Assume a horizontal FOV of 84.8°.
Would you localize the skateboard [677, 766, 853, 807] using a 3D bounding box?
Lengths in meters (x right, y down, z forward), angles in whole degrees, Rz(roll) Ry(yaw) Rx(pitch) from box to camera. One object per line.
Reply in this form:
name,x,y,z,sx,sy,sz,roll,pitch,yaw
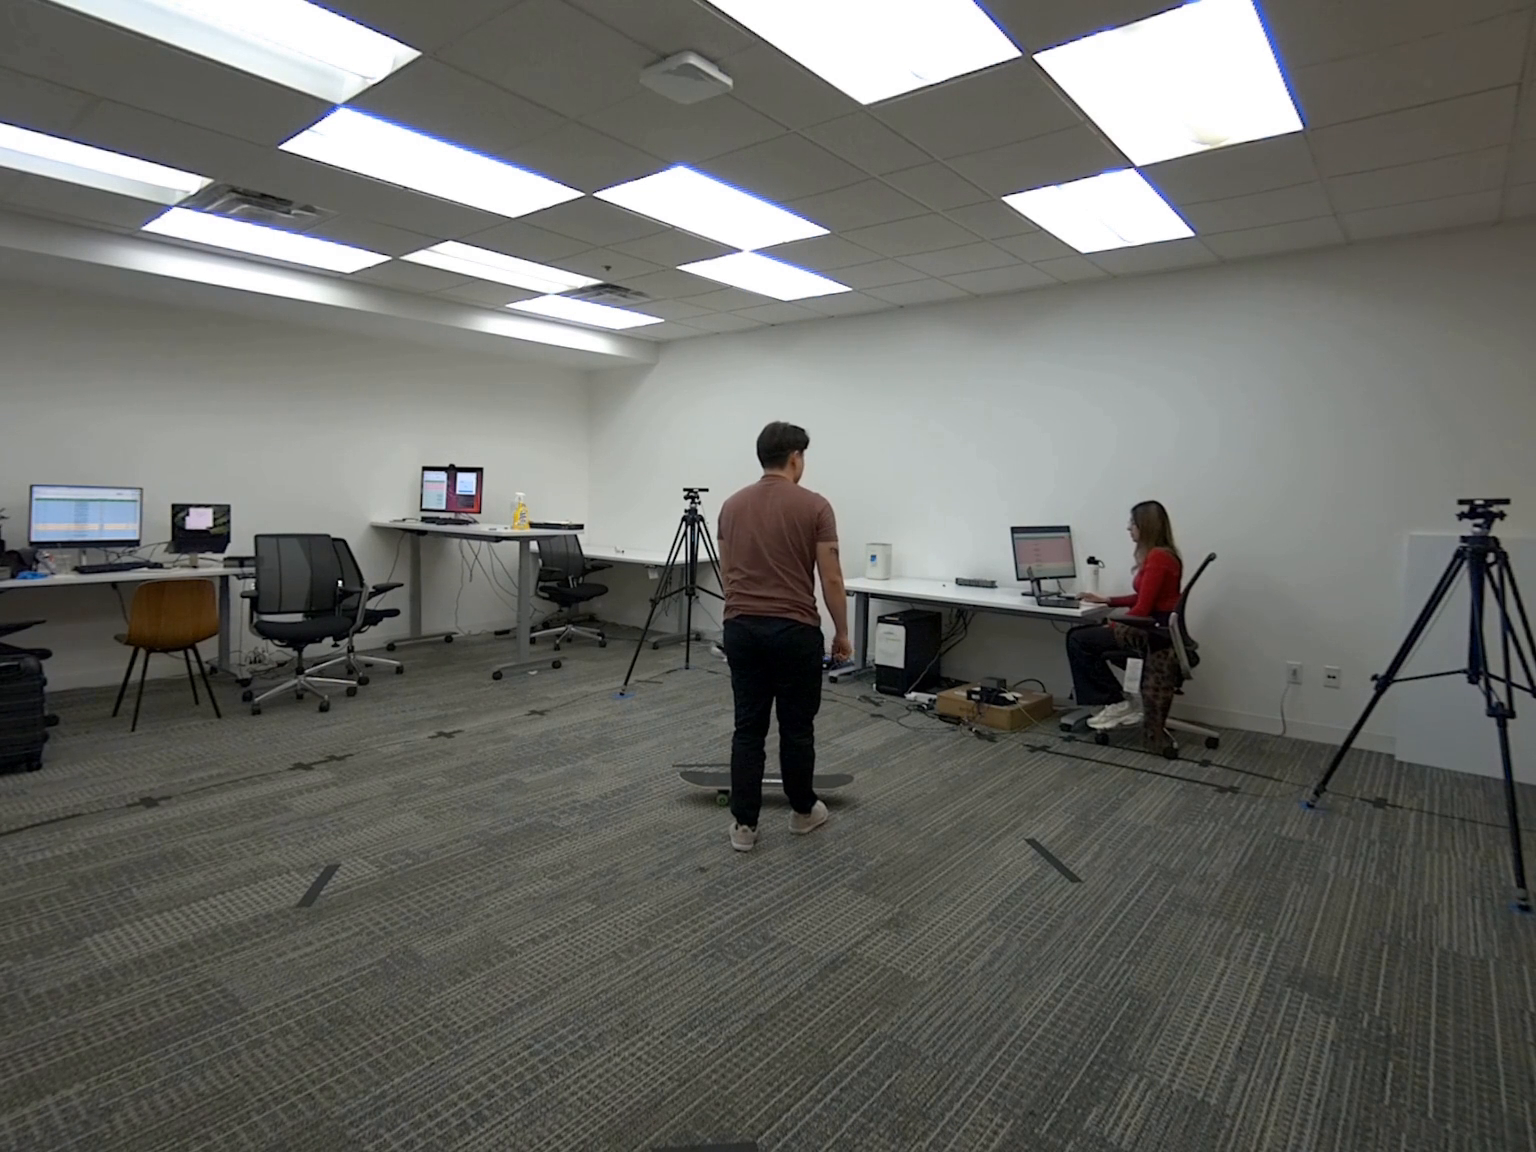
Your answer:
skateboard,-0.017,0.946,3.814,0.785,0.110,0.194,2,6,0
